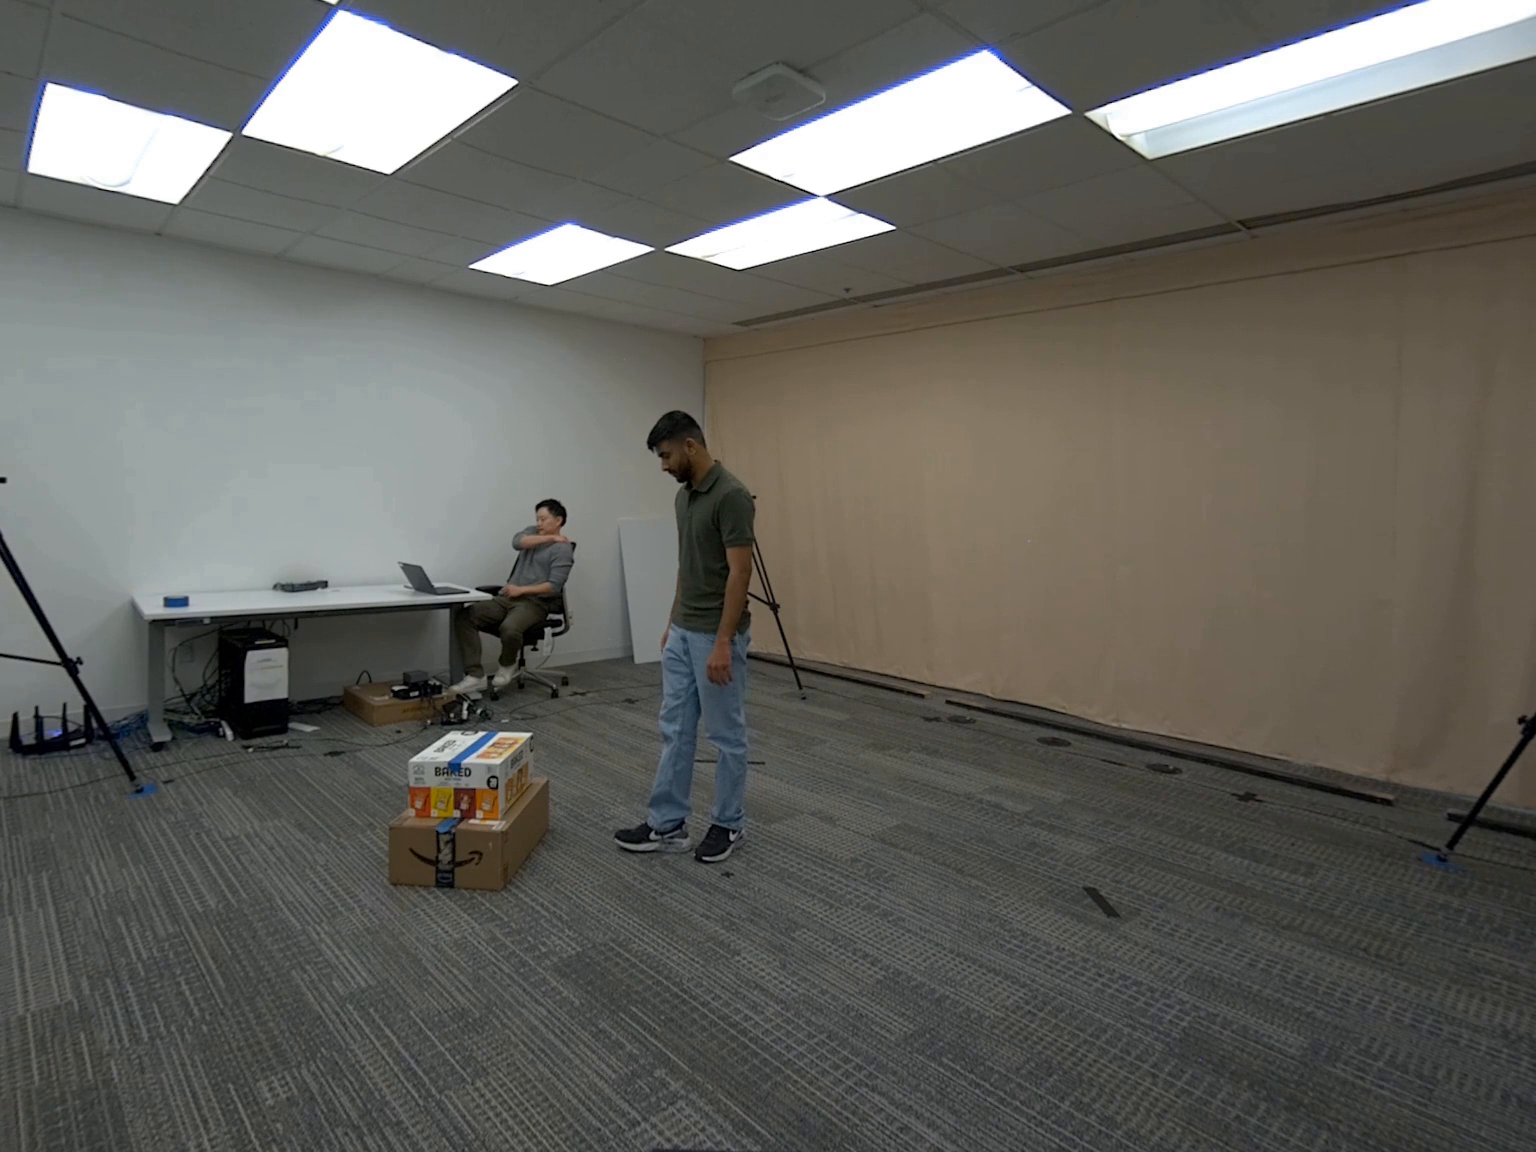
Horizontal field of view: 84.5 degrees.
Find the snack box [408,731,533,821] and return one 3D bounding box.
[{"bbox_3d":[-1.130,0.752,3.219,0.341,0.205,0.405,1,5,3],"label":"snack box"}]
